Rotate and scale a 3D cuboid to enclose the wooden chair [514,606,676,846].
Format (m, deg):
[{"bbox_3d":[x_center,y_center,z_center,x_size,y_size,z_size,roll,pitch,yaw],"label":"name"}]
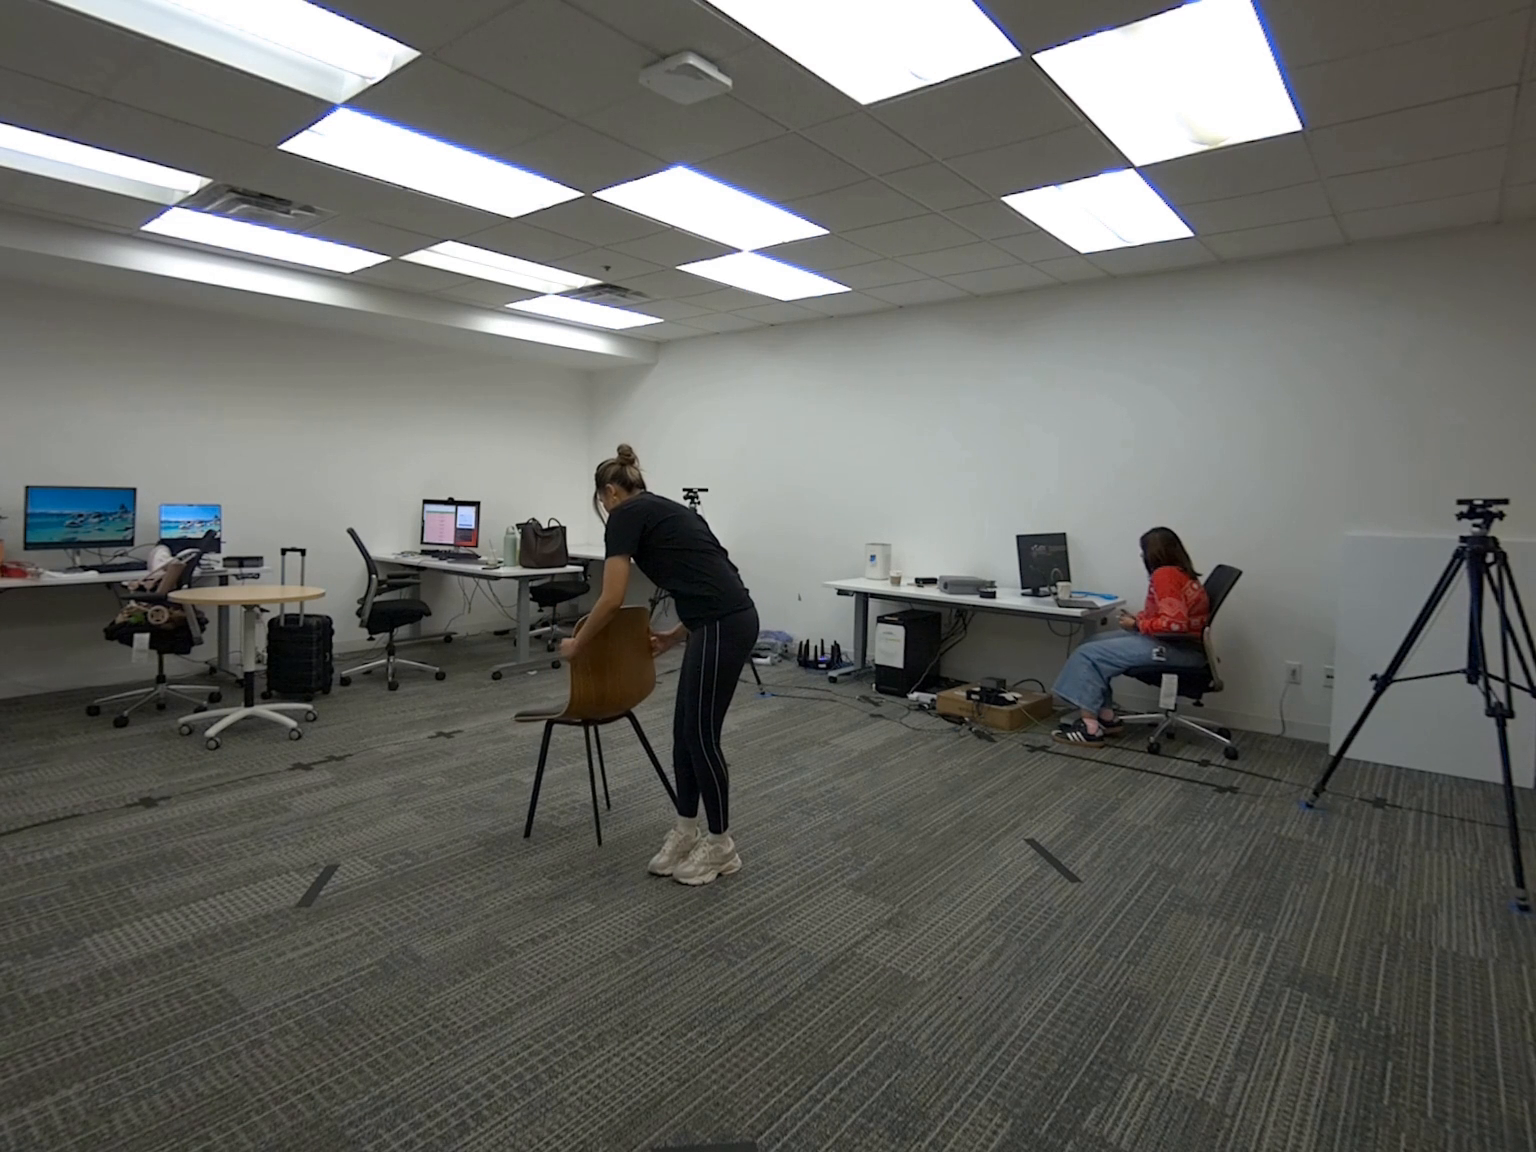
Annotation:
[{"bbox_3d":[-0.732,0.571,3.414,0.538,0.879,0.464,-6,-2,39],"label":"wooden chair"}]
